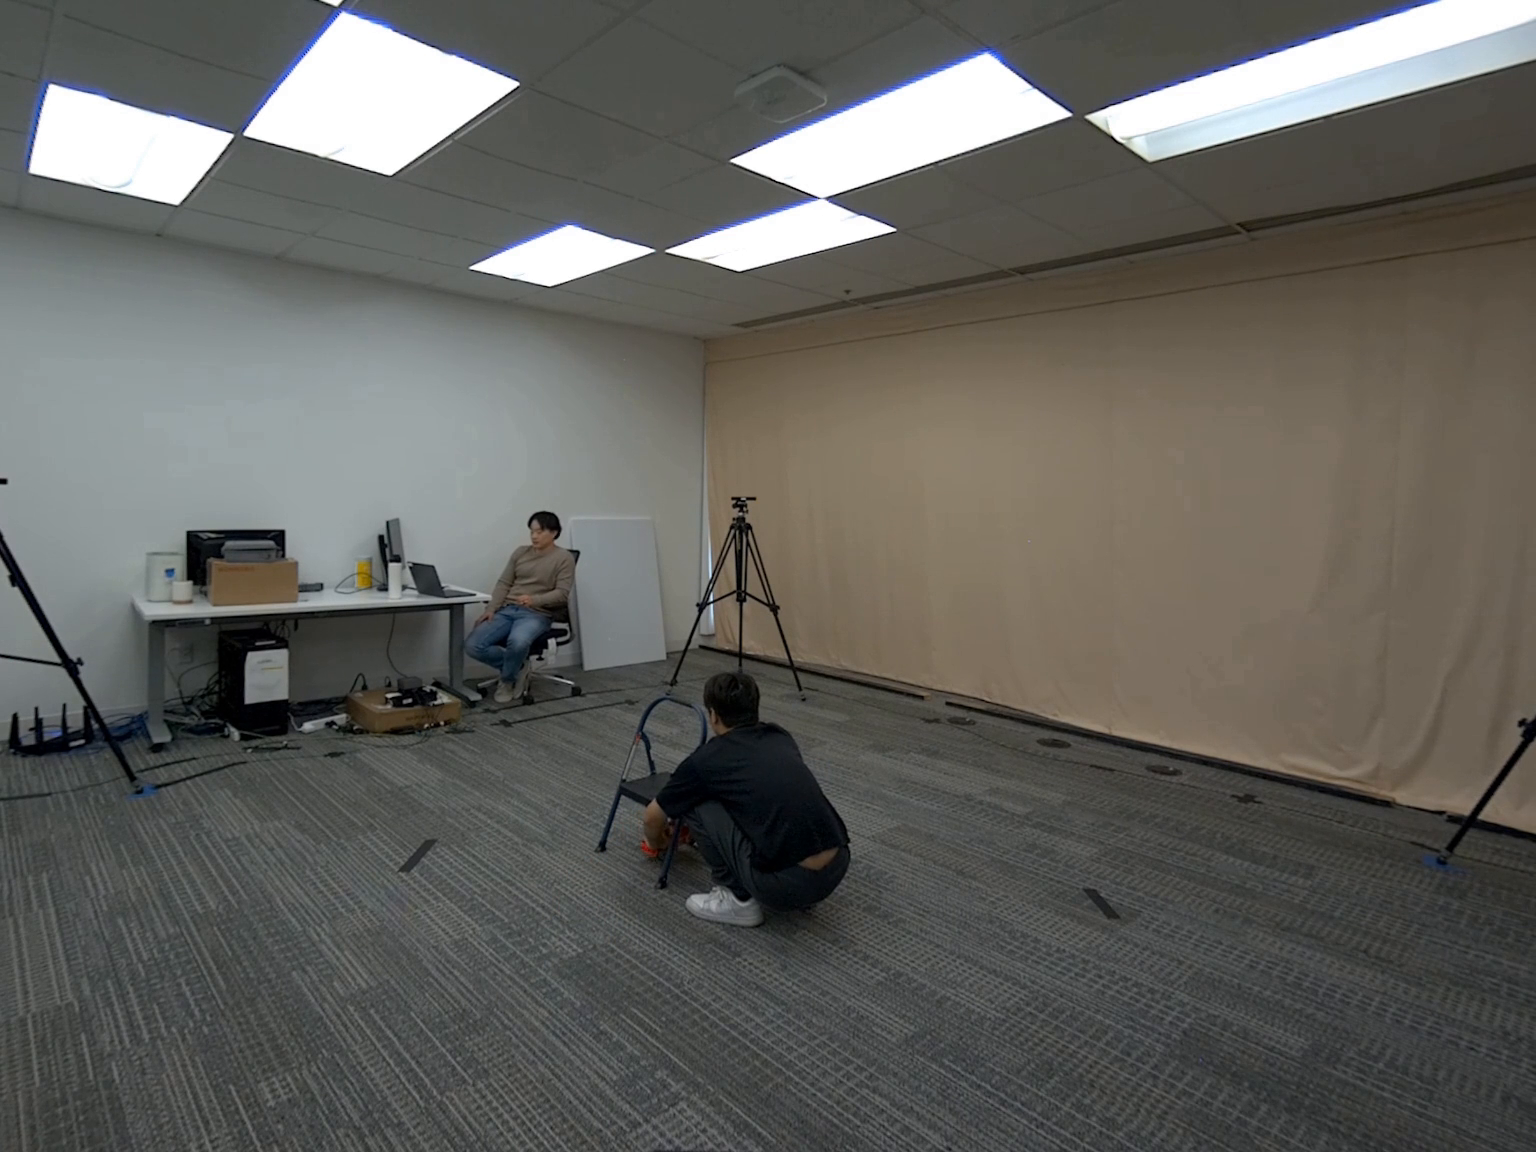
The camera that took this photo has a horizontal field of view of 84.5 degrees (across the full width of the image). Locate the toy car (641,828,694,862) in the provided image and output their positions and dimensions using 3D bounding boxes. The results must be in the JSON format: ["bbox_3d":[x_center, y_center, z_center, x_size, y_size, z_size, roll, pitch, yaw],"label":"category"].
[{"bbox_3d":[-0.366,1.026,3.267,0.252,0.082,0.133,-27,19,-38],"label":"toy car"}]
